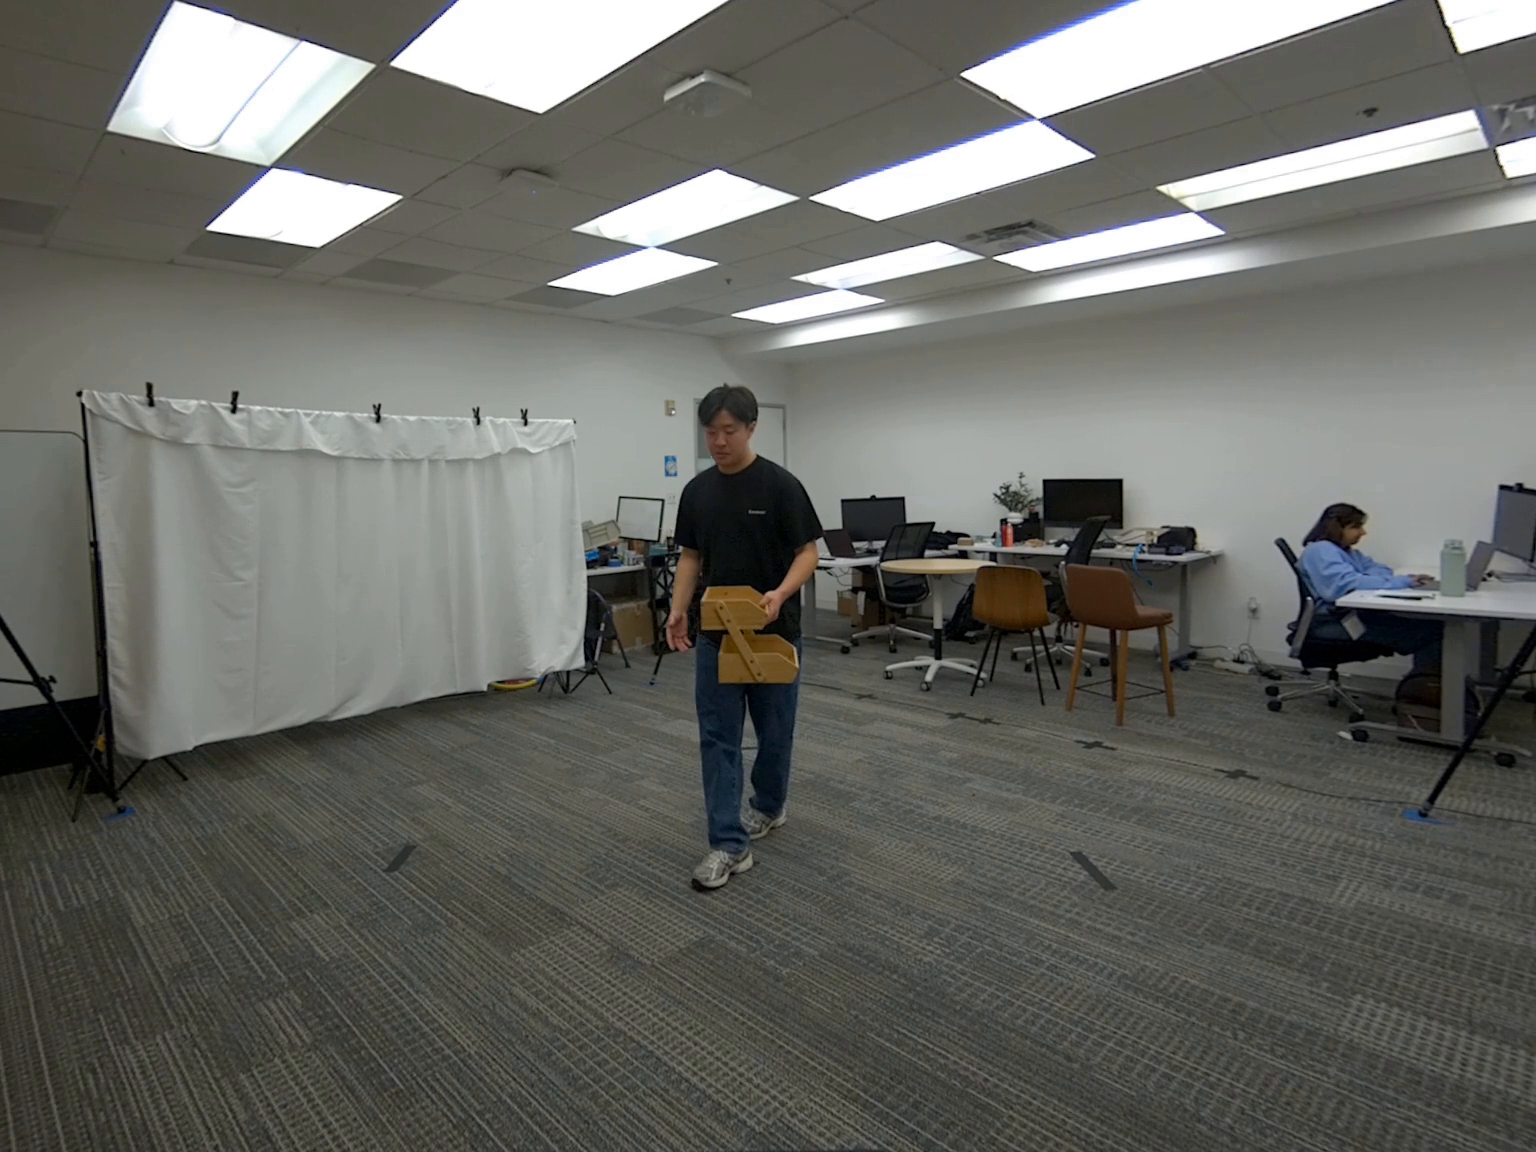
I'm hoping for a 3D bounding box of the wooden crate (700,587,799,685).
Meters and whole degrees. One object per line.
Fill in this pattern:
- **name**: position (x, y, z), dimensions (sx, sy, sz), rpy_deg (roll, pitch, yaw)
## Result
- **wooden crate**: position (-0.050, 0.184, 2.788), dimensions (0.303, 0.272, 0.325), rpy_deg (3, 6, 2)
